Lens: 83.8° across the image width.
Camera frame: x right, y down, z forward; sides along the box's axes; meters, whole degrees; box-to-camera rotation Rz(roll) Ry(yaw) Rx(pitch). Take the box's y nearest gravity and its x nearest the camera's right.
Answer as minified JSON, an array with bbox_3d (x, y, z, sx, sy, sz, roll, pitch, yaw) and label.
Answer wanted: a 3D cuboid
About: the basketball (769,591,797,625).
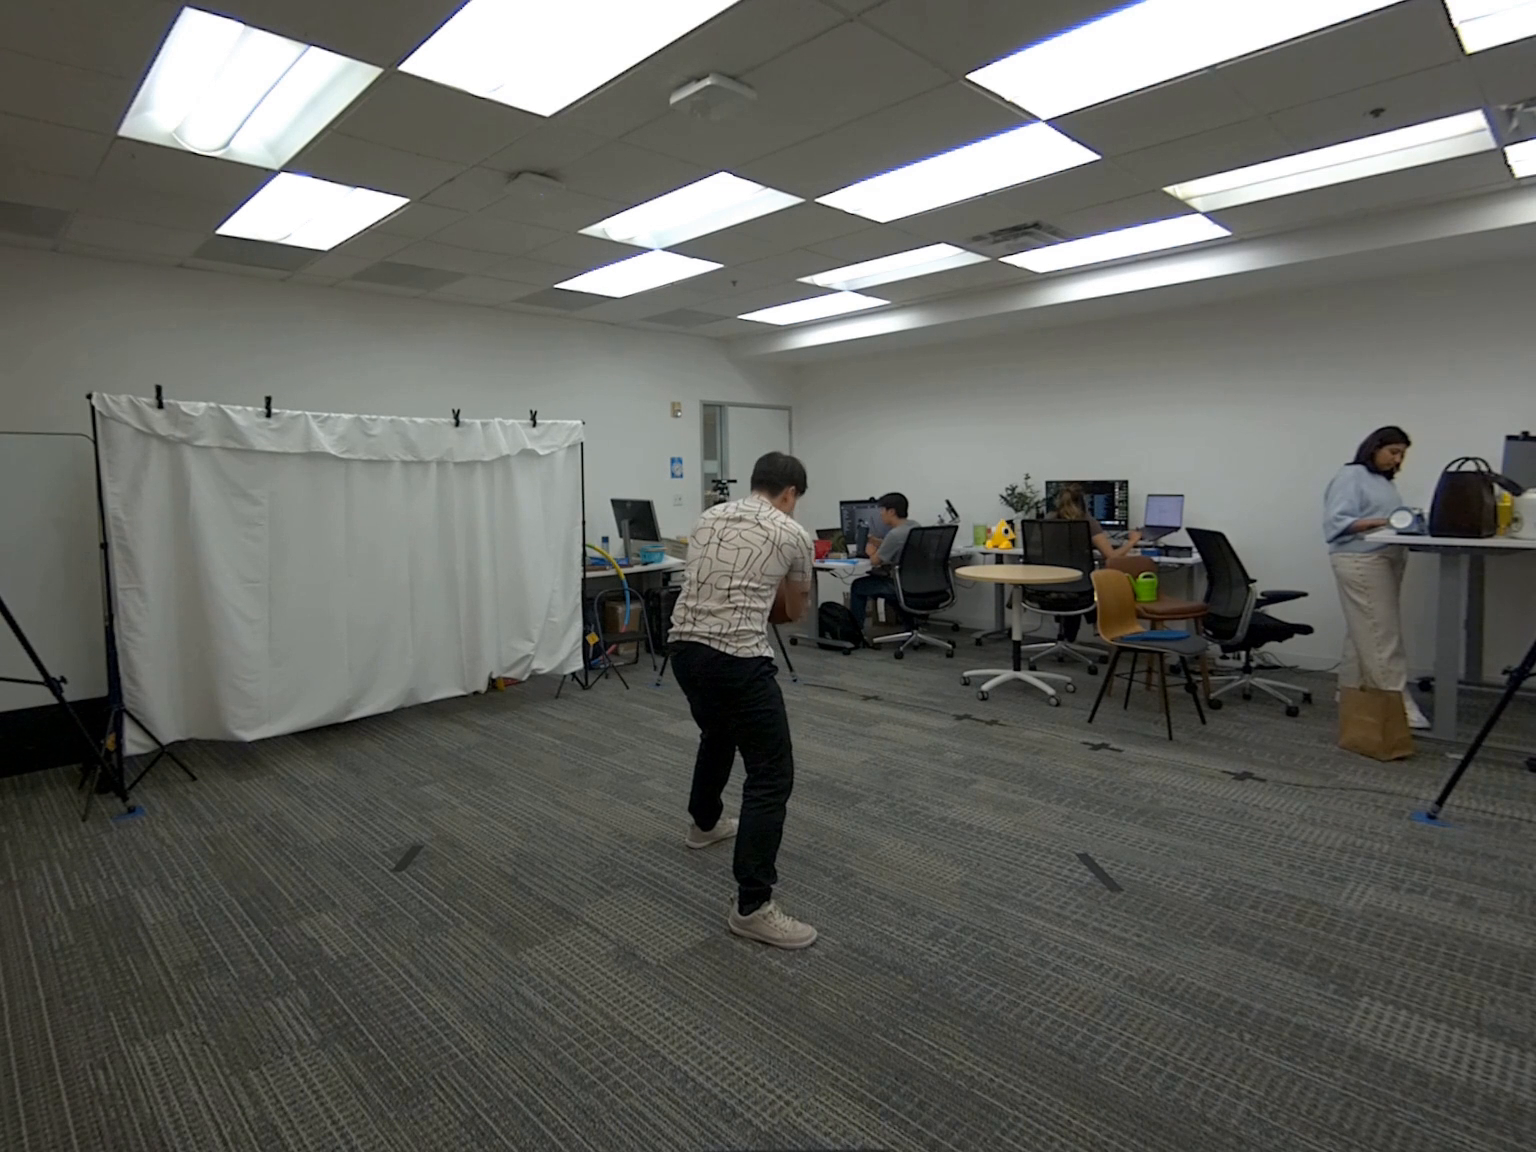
[{"bbox_3d":[0.042,0.079,3.496,0.236,0.235,0.237,-1,5,-2],"label":"basketball"}]
